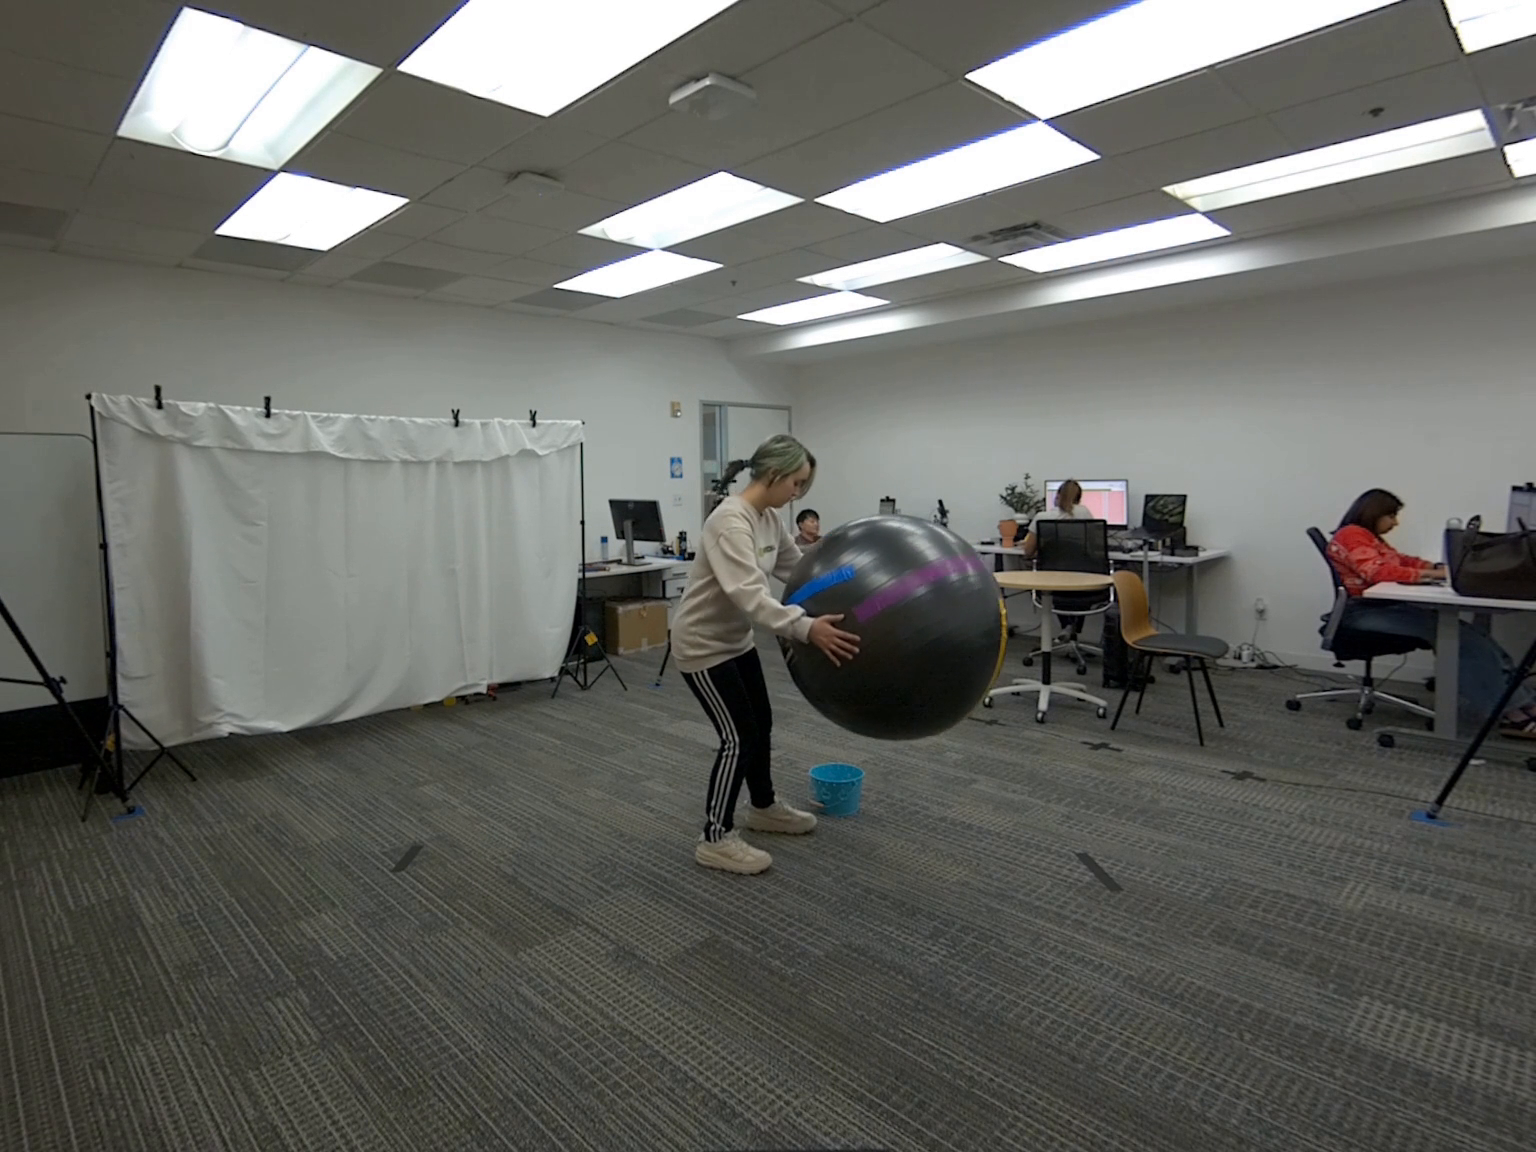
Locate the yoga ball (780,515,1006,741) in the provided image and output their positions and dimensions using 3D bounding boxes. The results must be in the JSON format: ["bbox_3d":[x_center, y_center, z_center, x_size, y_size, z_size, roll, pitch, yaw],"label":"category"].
[{"bbox_3d":[0.413,0.180,2.890,0.757,0.755,0.762,-1,5,-2],"label":"yoga ball"}]
